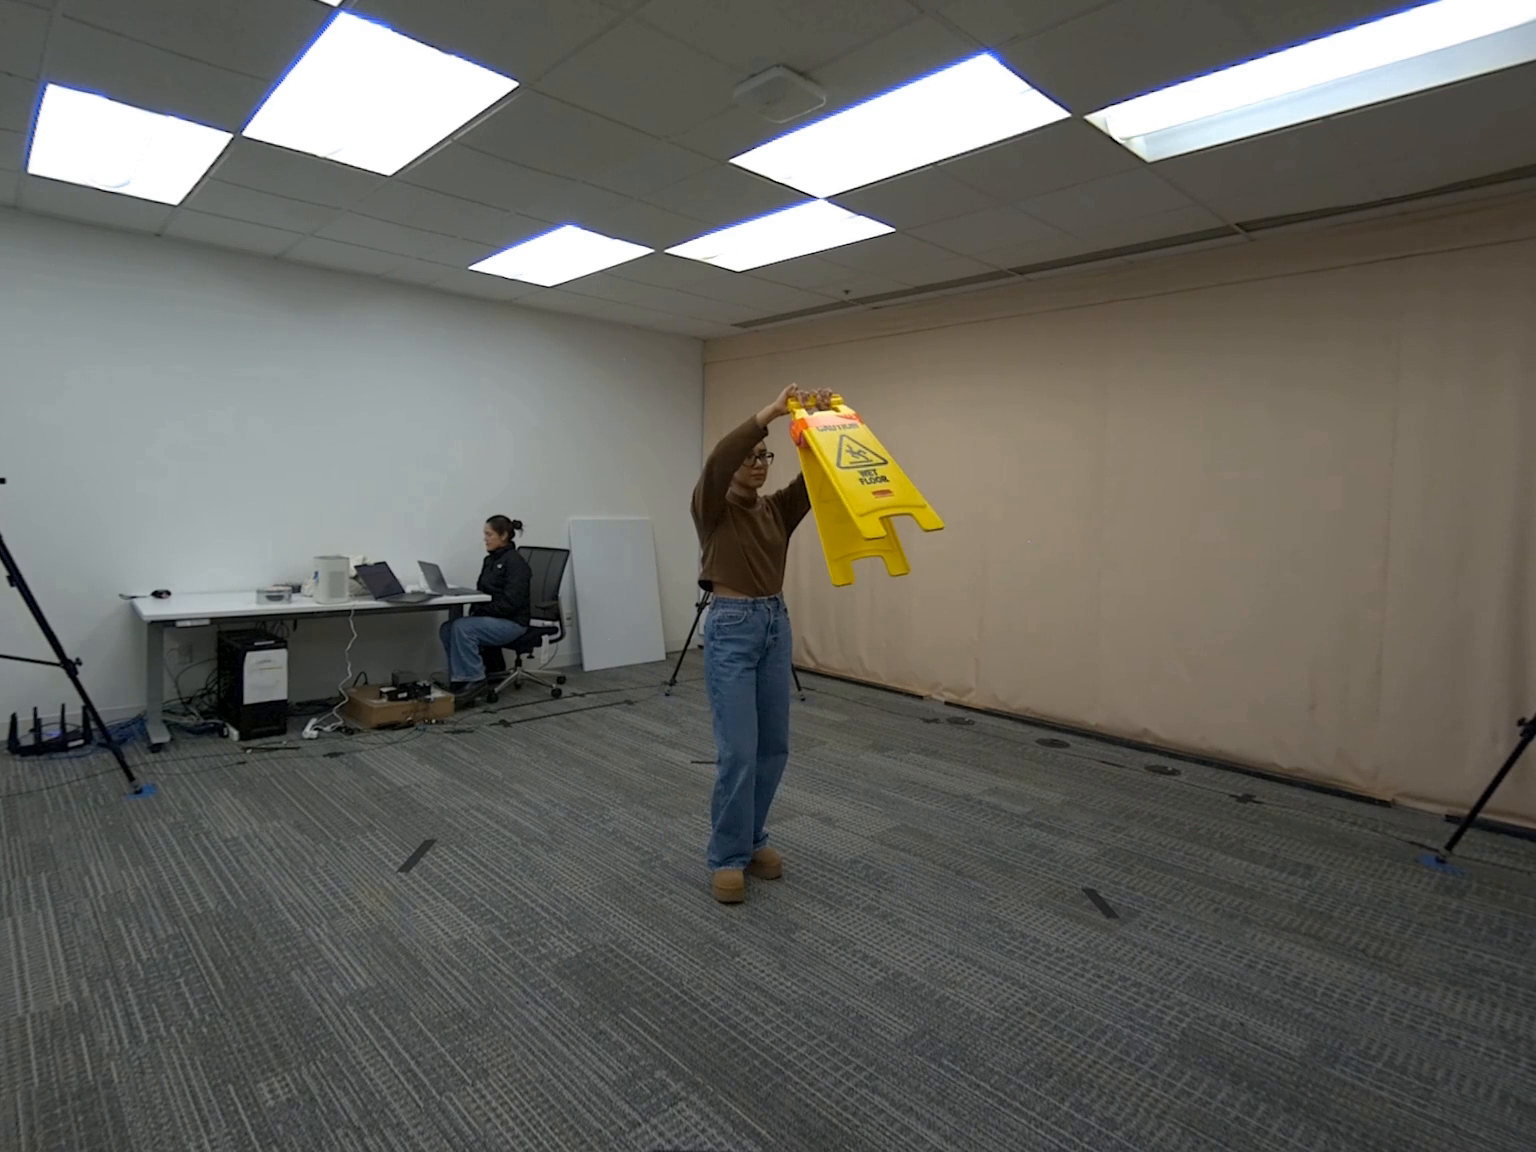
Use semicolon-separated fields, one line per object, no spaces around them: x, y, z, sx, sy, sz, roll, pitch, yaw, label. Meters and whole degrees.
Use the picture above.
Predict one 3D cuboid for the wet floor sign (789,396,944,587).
0.243;-0.332;2.671;0.278;0.661;0.287;-8;-29;-22;wet floor sign
